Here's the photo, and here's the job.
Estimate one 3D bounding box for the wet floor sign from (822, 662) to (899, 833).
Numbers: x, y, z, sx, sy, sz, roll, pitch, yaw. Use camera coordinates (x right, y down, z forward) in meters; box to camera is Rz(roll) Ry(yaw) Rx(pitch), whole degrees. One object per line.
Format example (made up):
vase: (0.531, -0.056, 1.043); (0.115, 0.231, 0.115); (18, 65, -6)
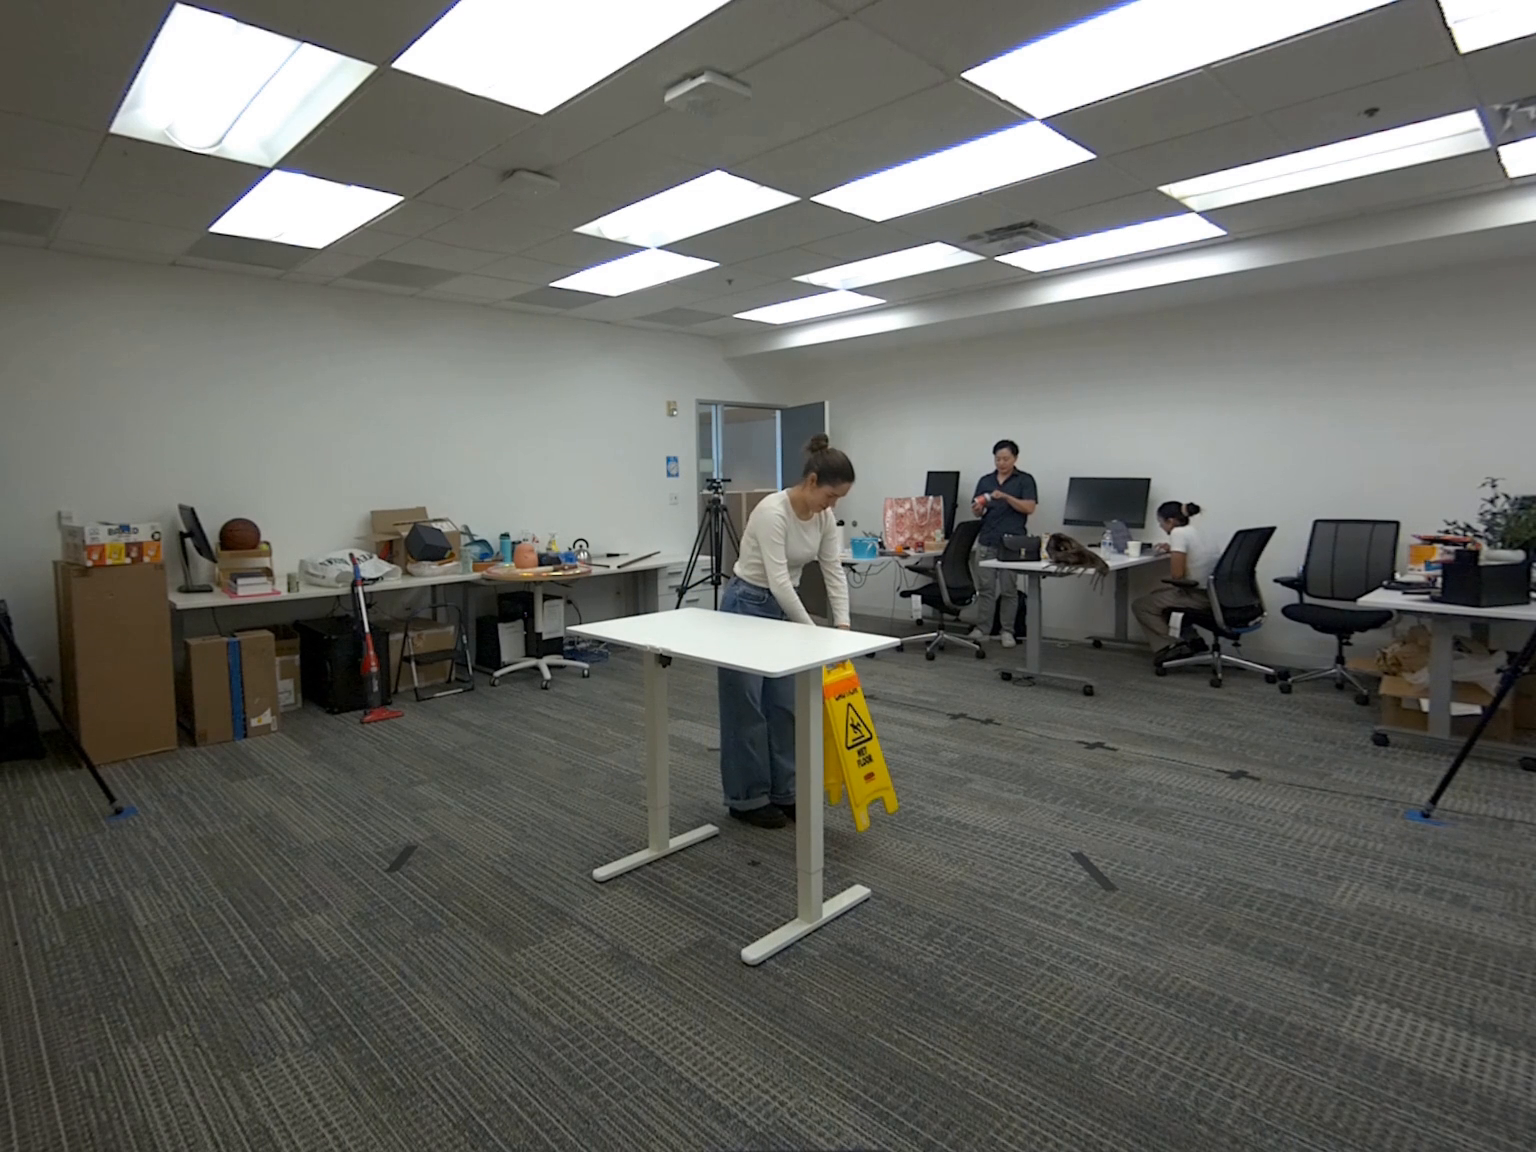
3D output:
wet floor sign: (0.270, 0.598, 3.281); (0.297, 0.646, 0.275); (-7, 0, 40)
